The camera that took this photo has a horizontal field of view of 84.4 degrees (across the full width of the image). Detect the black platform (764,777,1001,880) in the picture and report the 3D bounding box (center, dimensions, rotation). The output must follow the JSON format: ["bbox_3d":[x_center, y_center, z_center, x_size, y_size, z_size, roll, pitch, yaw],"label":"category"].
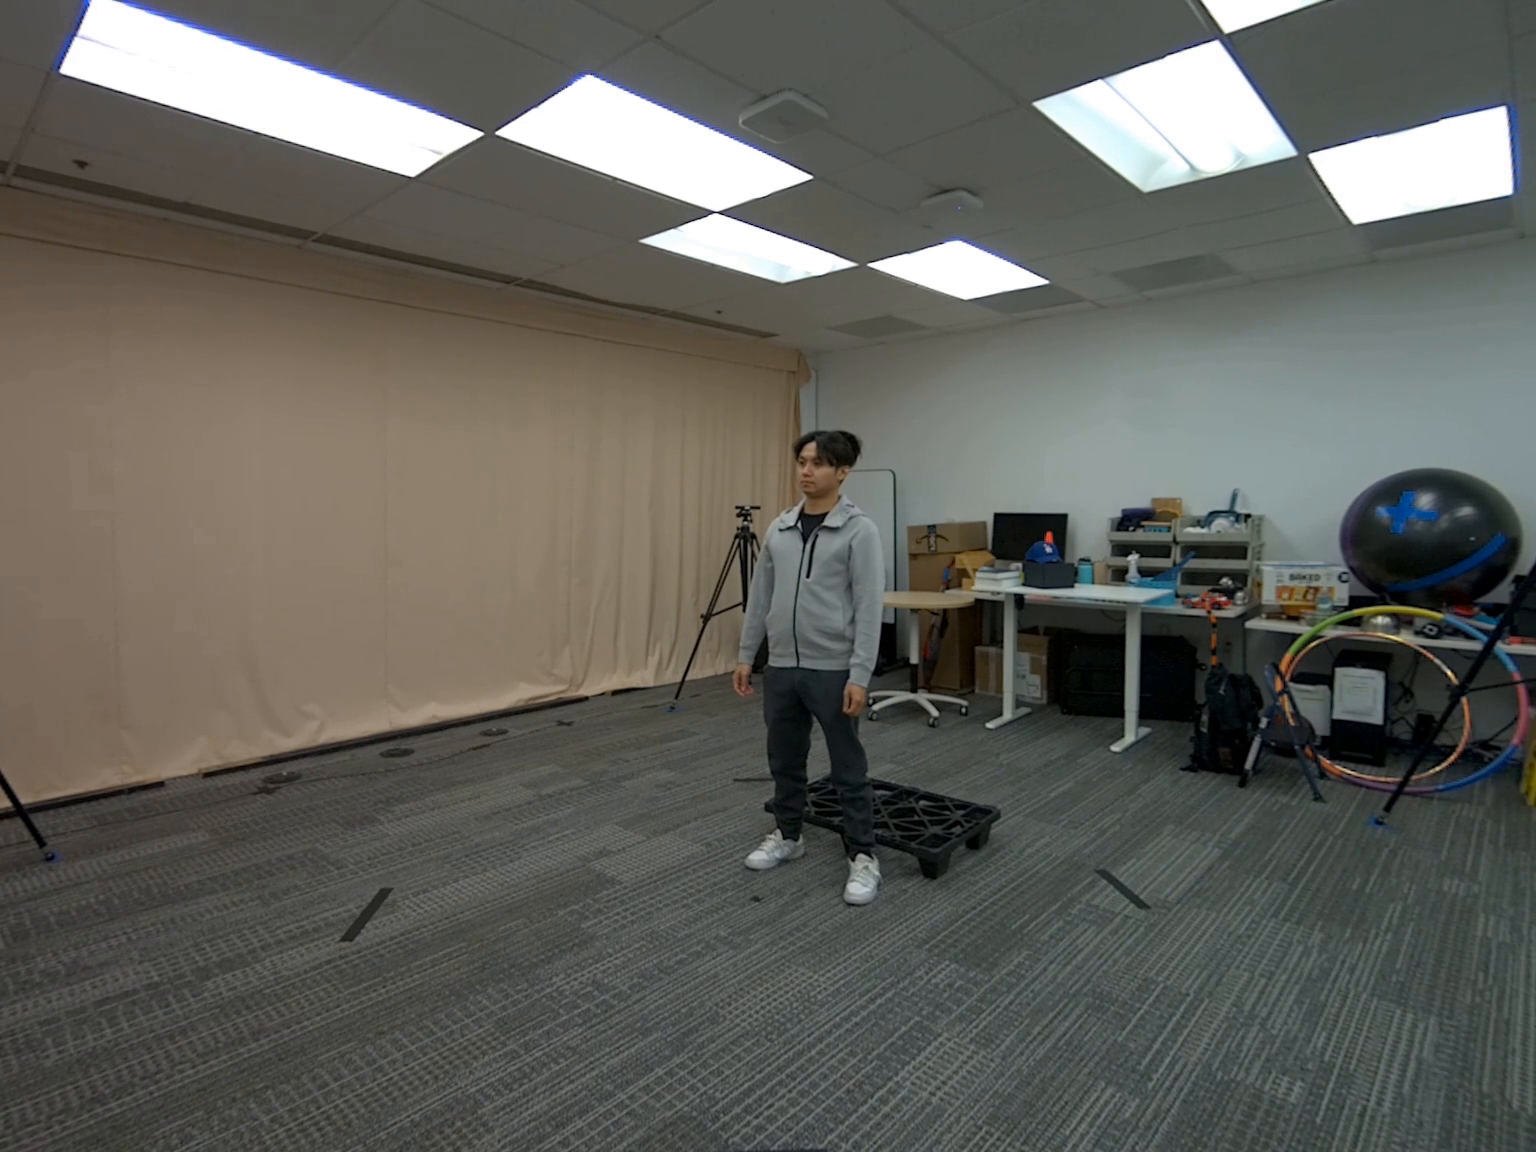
[{"bbox_3d":[0.474,1.027,3.528,0.832,0.143,0.587,4,6,39],"label":"black platform"}]
